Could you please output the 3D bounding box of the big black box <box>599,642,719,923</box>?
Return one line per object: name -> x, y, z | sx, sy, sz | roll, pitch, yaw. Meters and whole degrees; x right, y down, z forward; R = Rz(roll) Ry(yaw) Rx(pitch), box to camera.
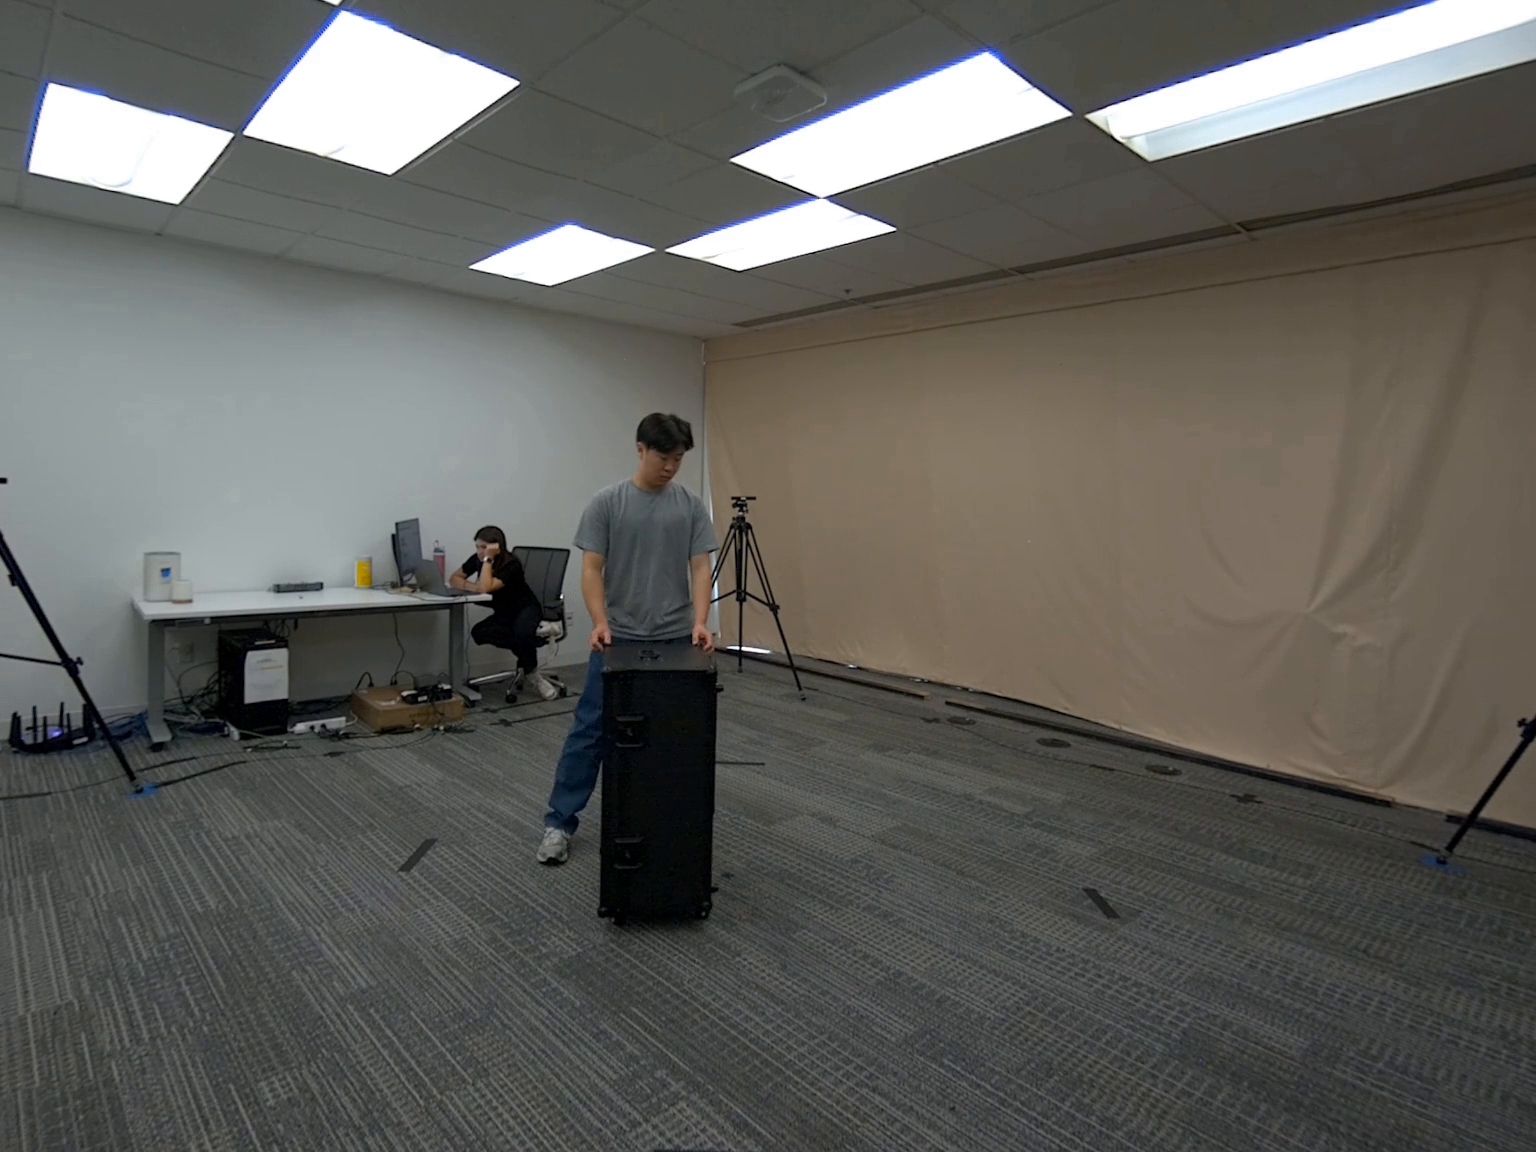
big black box -> -0.384, 0.700, 2.887 | 0.393, 0.860, 0.526 | 1, 3, -9
